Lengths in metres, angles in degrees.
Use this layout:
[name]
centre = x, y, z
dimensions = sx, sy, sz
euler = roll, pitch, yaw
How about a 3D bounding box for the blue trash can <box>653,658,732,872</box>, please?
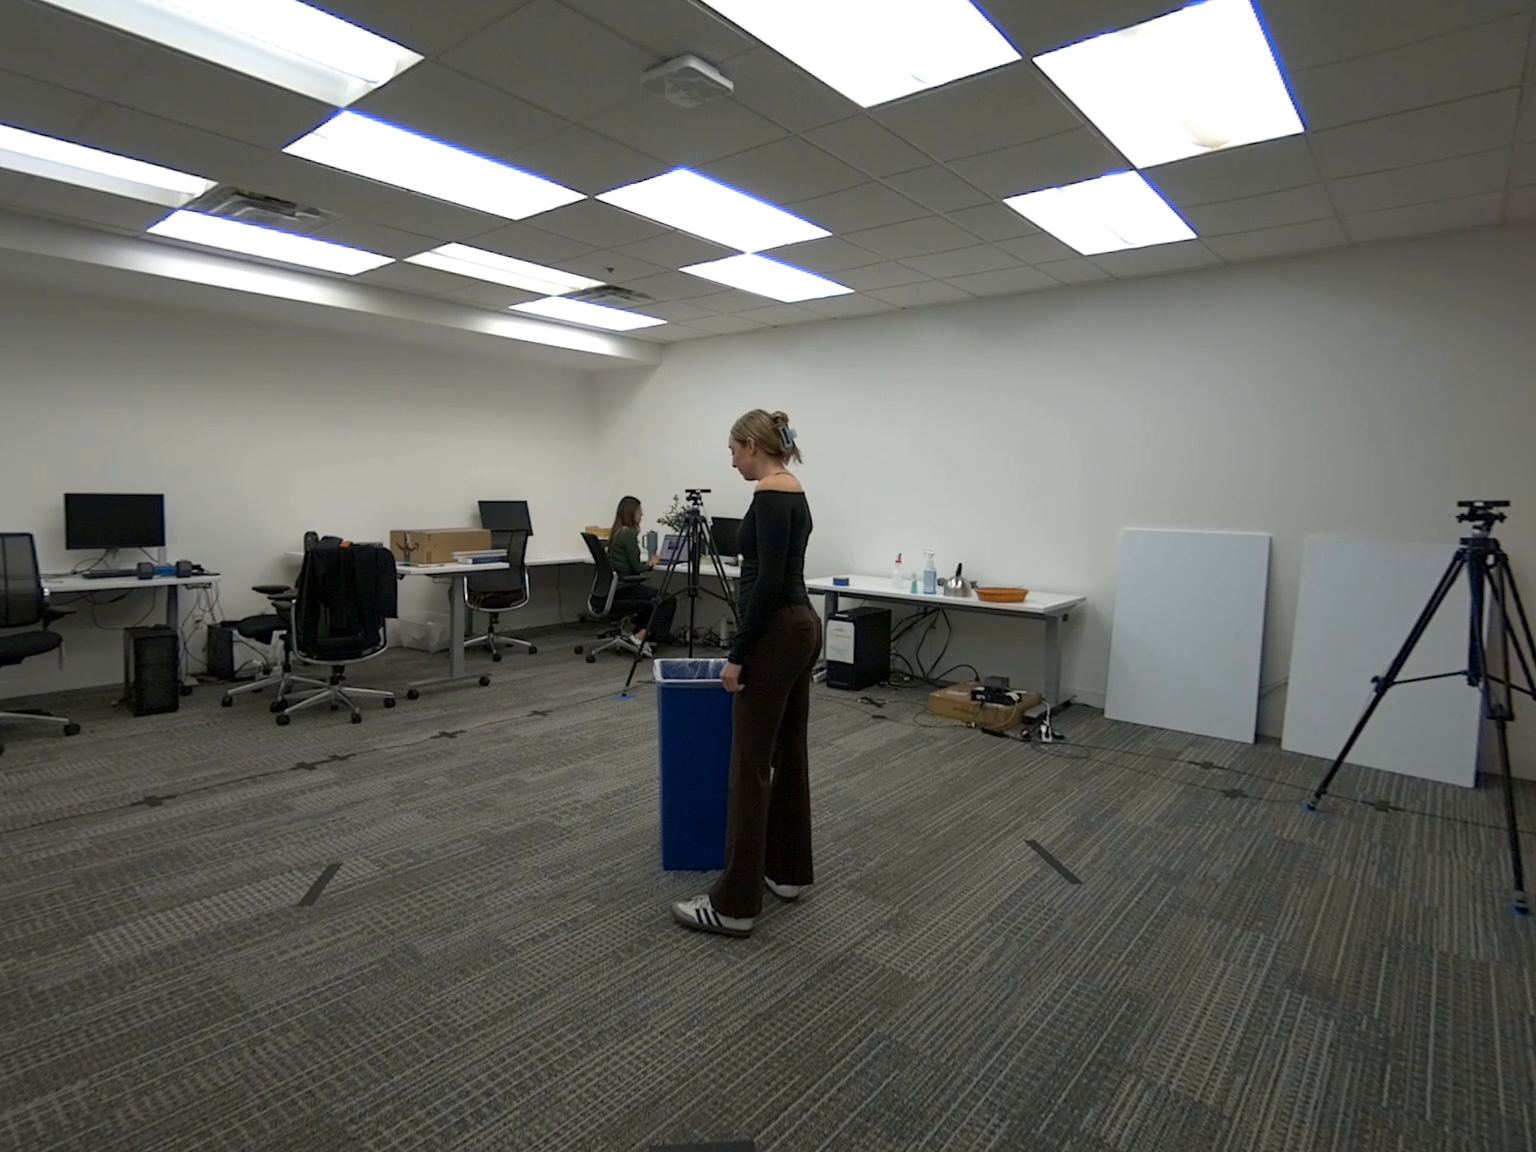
[blue trash can]
centre = -0.260, 0.703, 3.237
dimensions = 0.376, 0.711, 0.377
euler = 0, 3, -6
